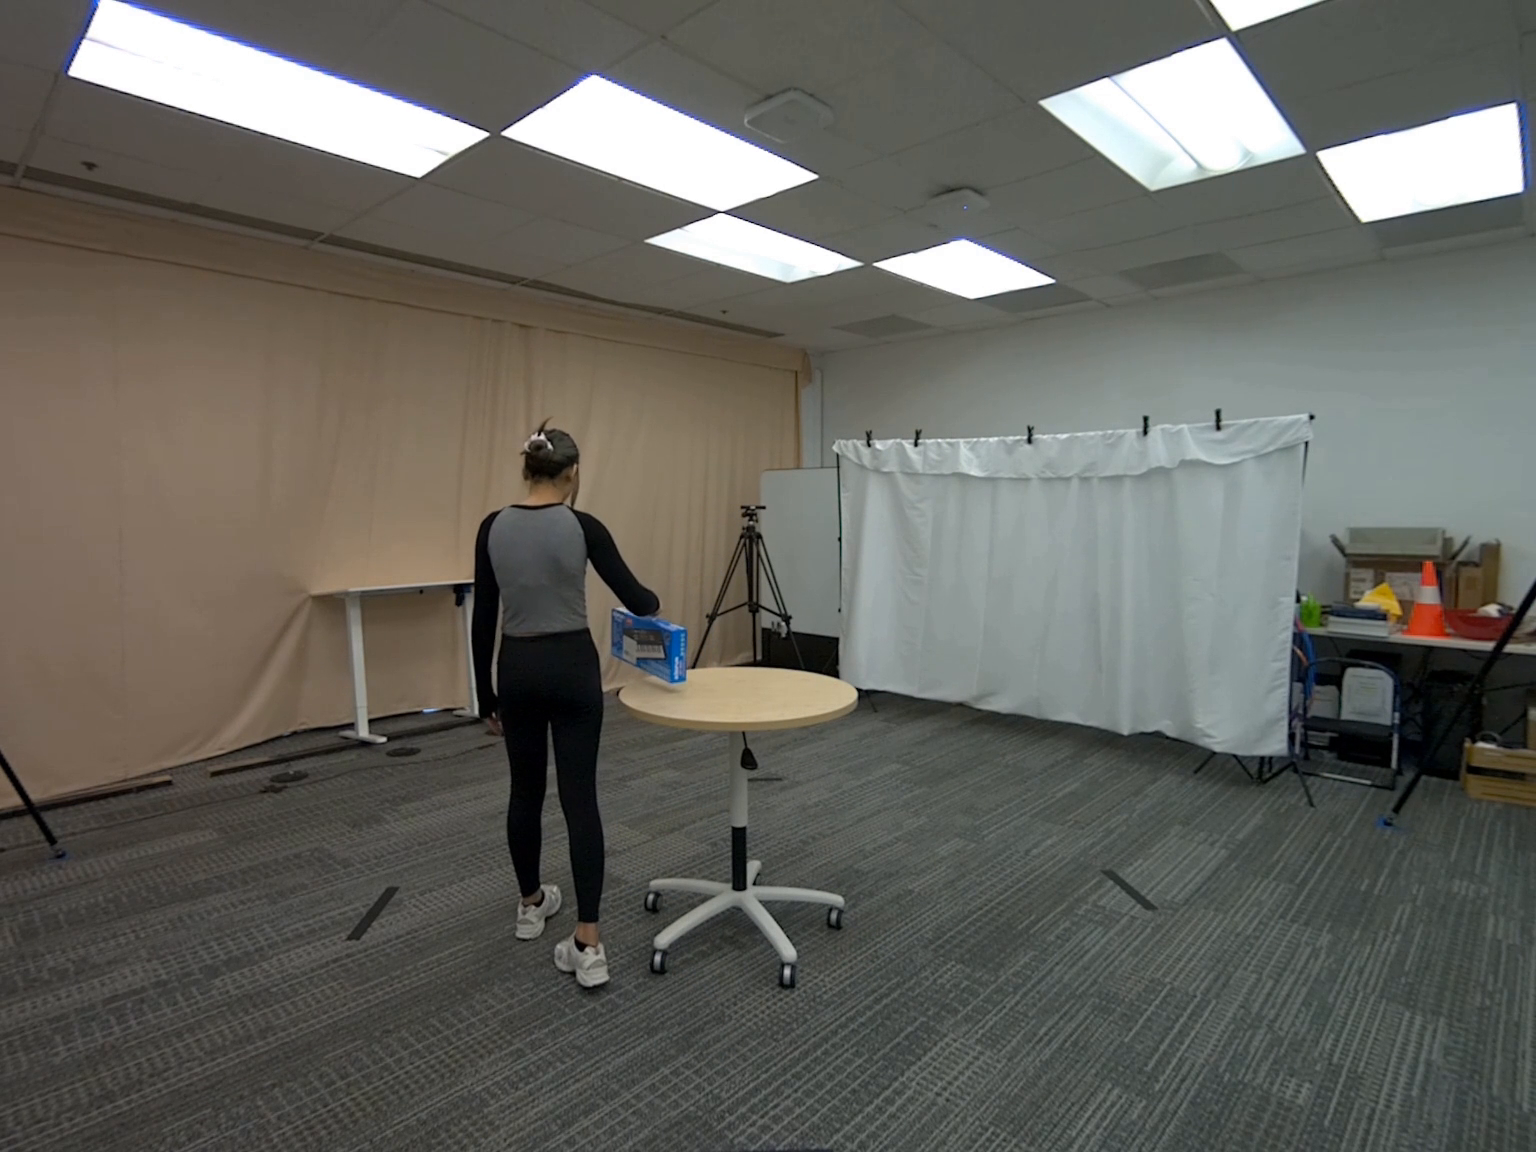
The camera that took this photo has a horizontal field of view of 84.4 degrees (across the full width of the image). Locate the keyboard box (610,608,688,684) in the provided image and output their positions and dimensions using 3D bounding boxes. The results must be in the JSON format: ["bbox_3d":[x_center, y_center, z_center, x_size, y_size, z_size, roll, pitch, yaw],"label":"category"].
[{"bbox_3d":[-0.408,0.230,2.853,0.057,0.175,0.451,-2,8,-35],"label":"keyboard box"}]
